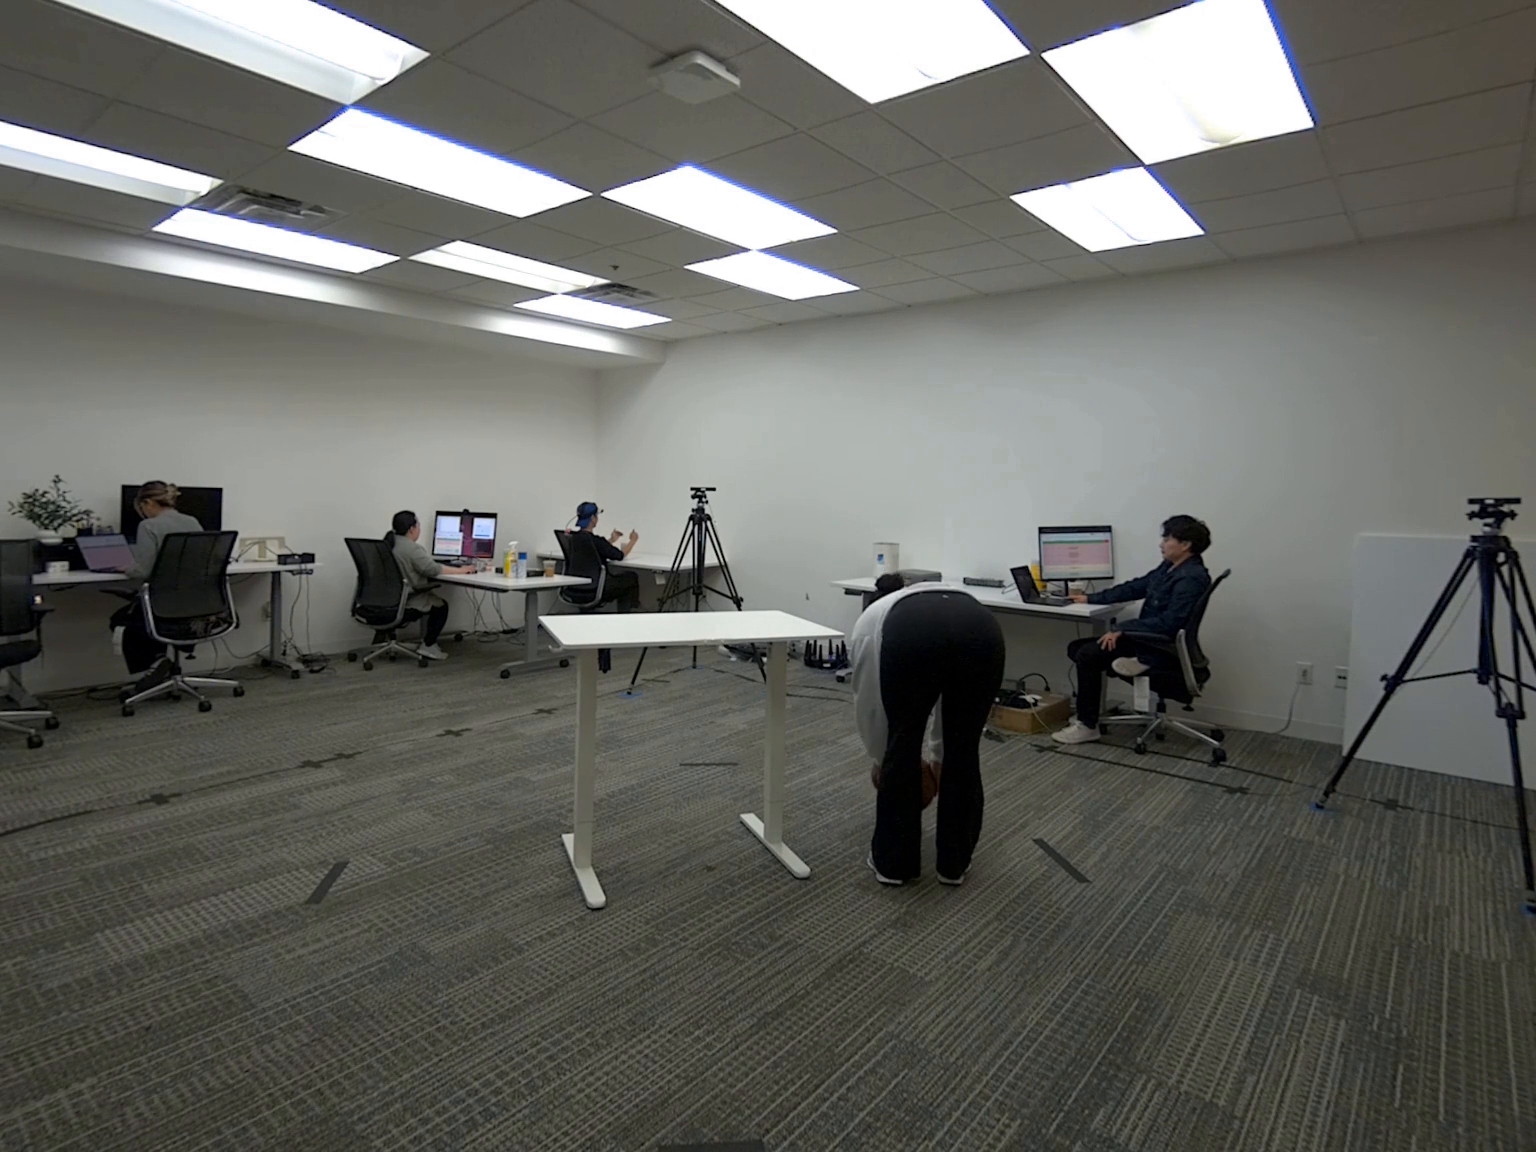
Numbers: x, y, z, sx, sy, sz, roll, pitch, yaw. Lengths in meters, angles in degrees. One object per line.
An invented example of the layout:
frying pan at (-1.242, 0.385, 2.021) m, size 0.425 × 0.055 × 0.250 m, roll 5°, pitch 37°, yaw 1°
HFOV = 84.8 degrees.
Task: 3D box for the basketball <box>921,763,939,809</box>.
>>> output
basketball at (0.553, 0.810, 3.424) m, size 0.235 × 0.235 × 0.237 m, roll 1°, pitch 4°, yaw -2°
